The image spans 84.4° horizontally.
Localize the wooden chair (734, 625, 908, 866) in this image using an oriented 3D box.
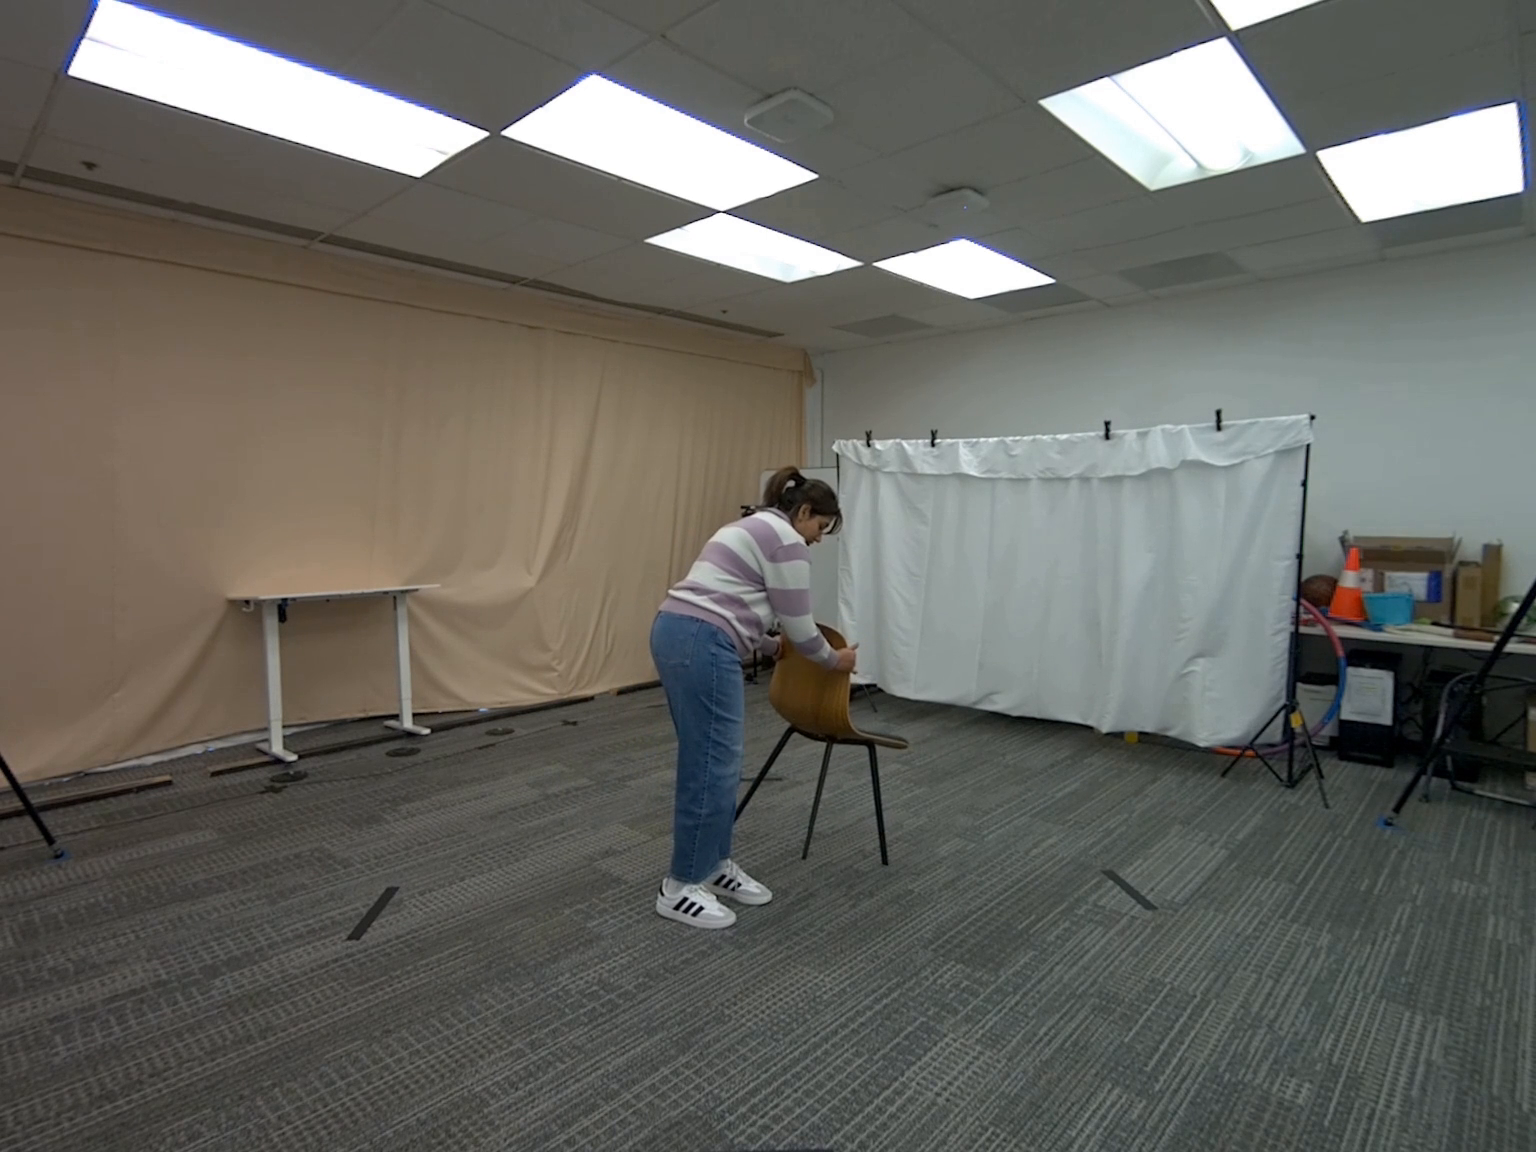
[{"bbox_3d":[0.255,0.640,3.351,0.506,0.879,0.493,12,-5,-37],"label":"wooden chair"}]
